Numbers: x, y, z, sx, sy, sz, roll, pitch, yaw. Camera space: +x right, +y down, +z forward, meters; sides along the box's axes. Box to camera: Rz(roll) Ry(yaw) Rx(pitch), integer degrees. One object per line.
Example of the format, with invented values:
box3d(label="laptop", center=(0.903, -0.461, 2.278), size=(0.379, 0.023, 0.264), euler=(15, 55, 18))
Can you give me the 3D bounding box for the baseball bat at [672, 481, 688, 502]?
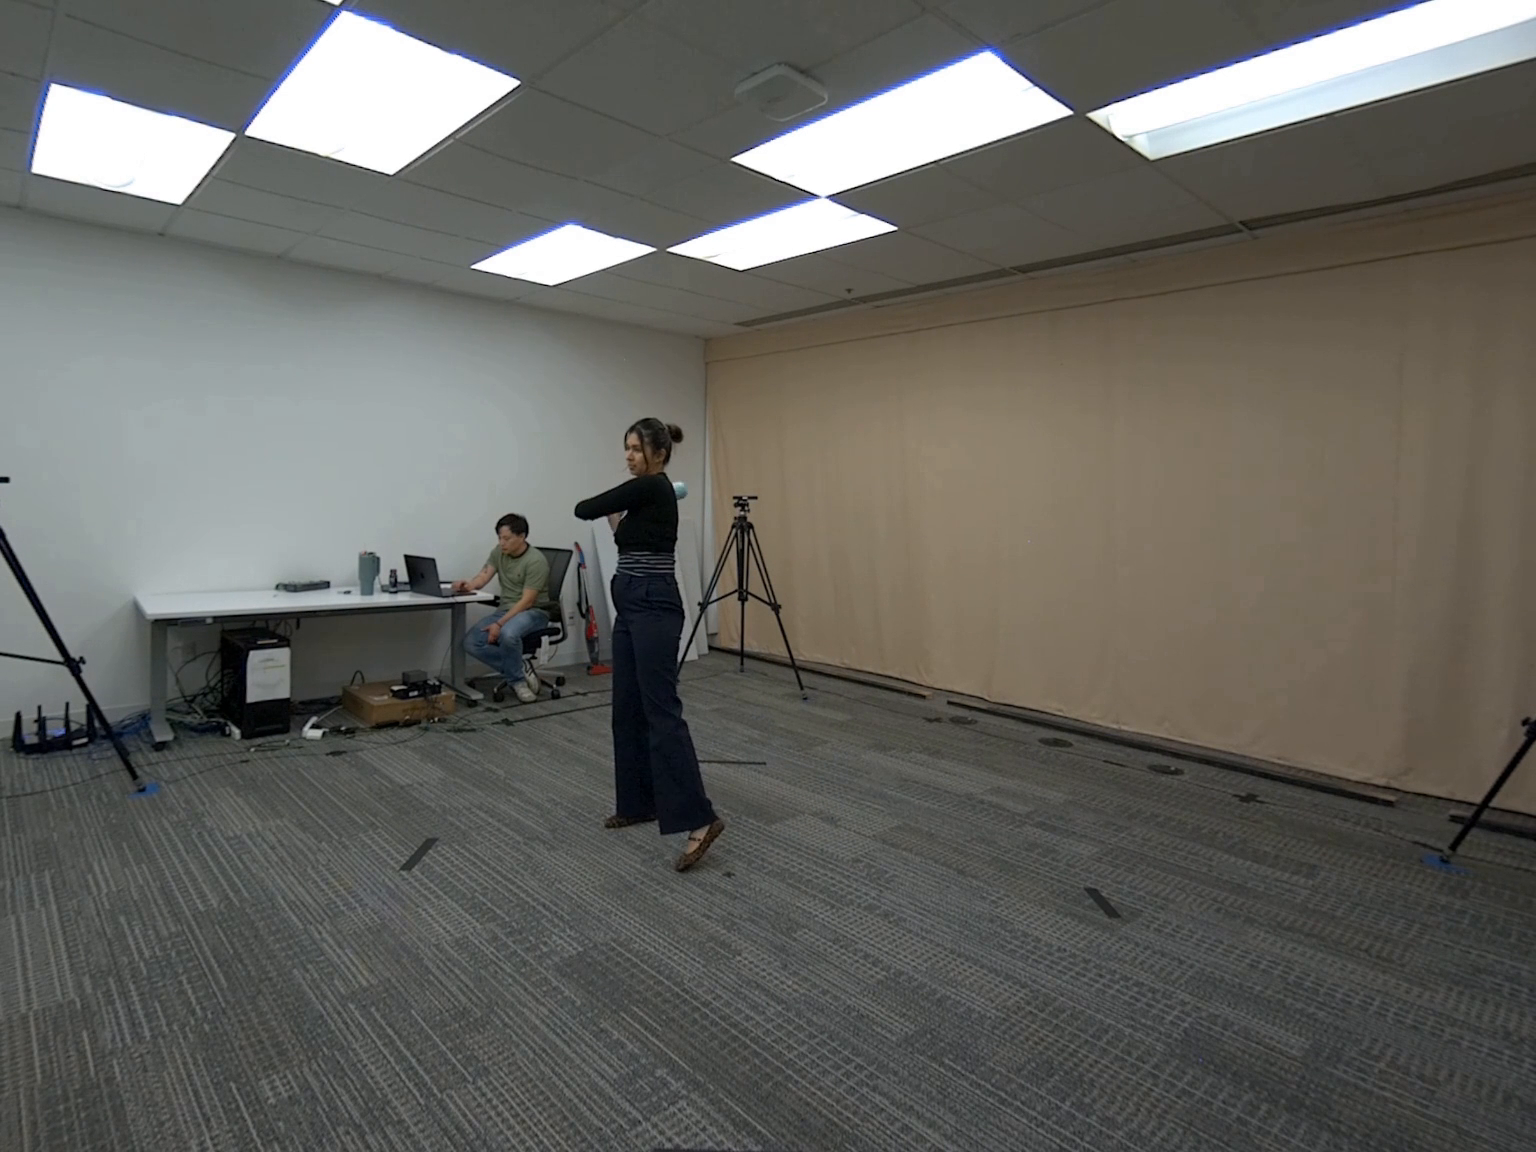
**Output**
box3d(label="baseball bat", center=(-0.619, -0.328, 3.880), size=(0.091, 0.088, 0.535), euler=(5, 20, 43))
